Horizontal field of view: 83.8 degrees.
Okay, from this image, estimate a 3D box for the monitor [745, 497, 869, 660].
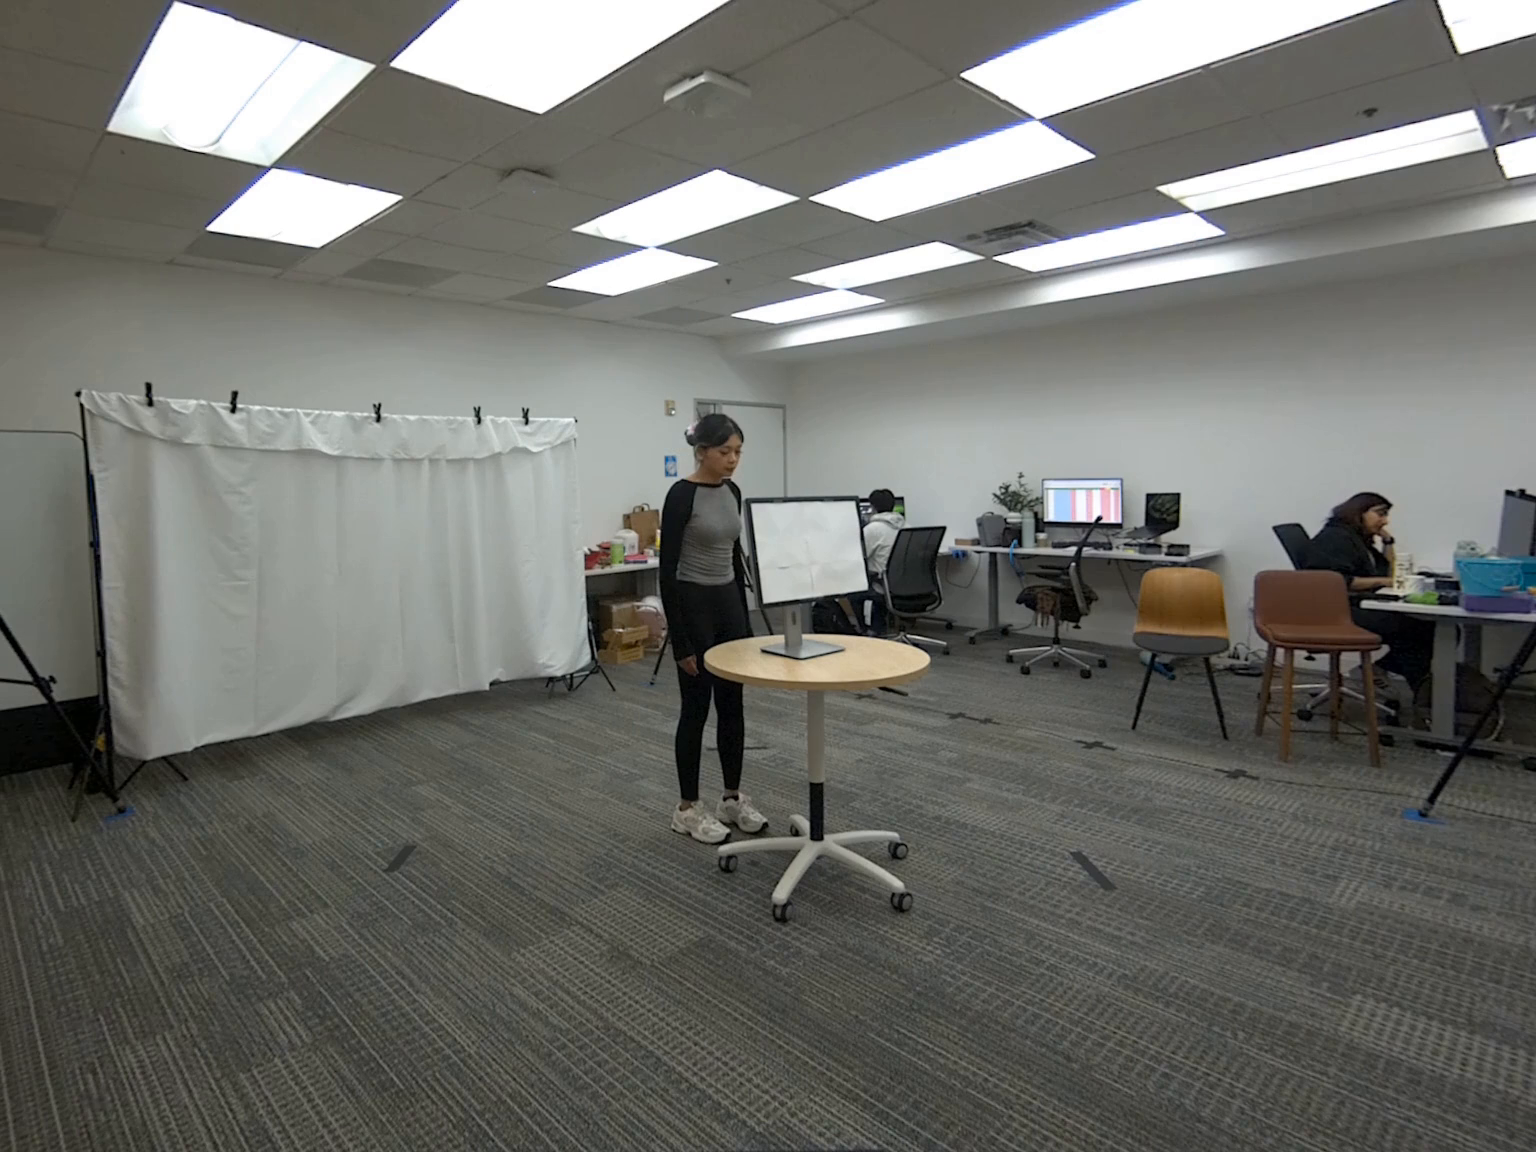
[{"bbox_3d":[0.123,0.000,2.984,0.525,0.520,0.193,-6,8,-44],"label":"monitor"}]
